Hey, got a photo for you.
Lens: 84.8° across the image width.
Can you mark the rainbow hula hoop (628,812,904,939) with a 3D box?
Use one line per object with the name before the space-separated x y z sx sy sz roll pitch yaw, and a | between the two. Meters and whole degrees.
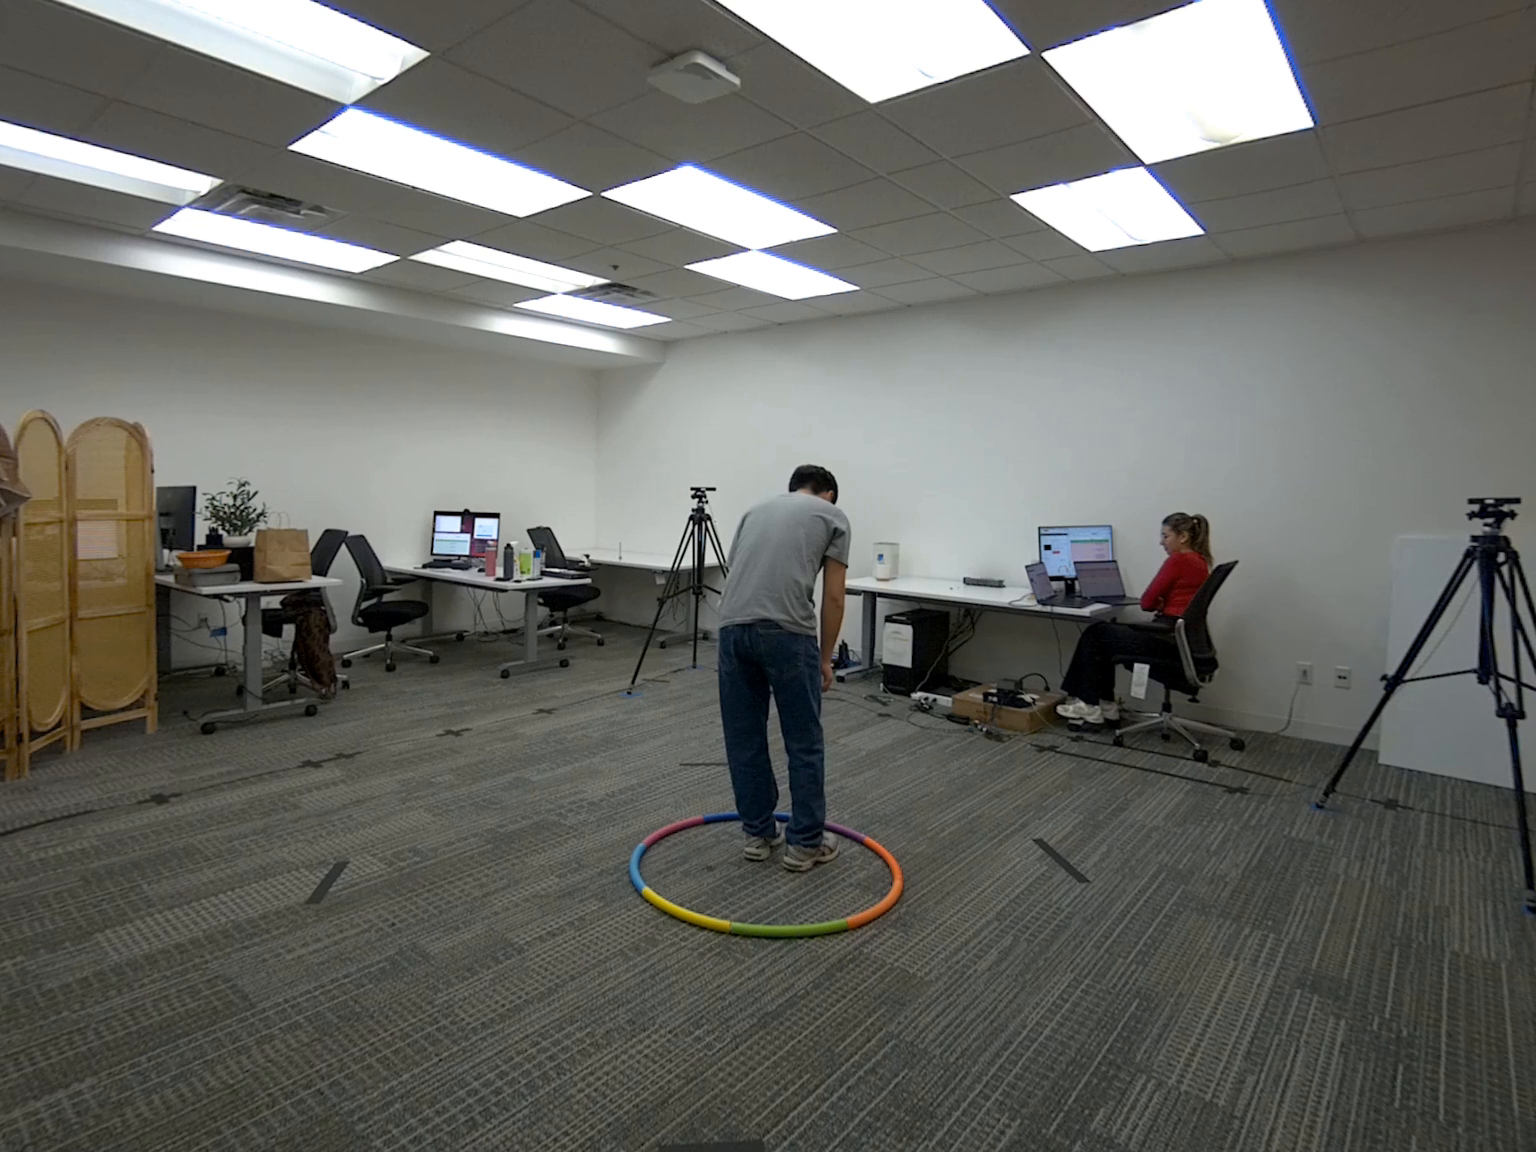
rainbow hula hoop | -0.020 1.041 3.104 0.978 0.035 0.983 1 5 -2
